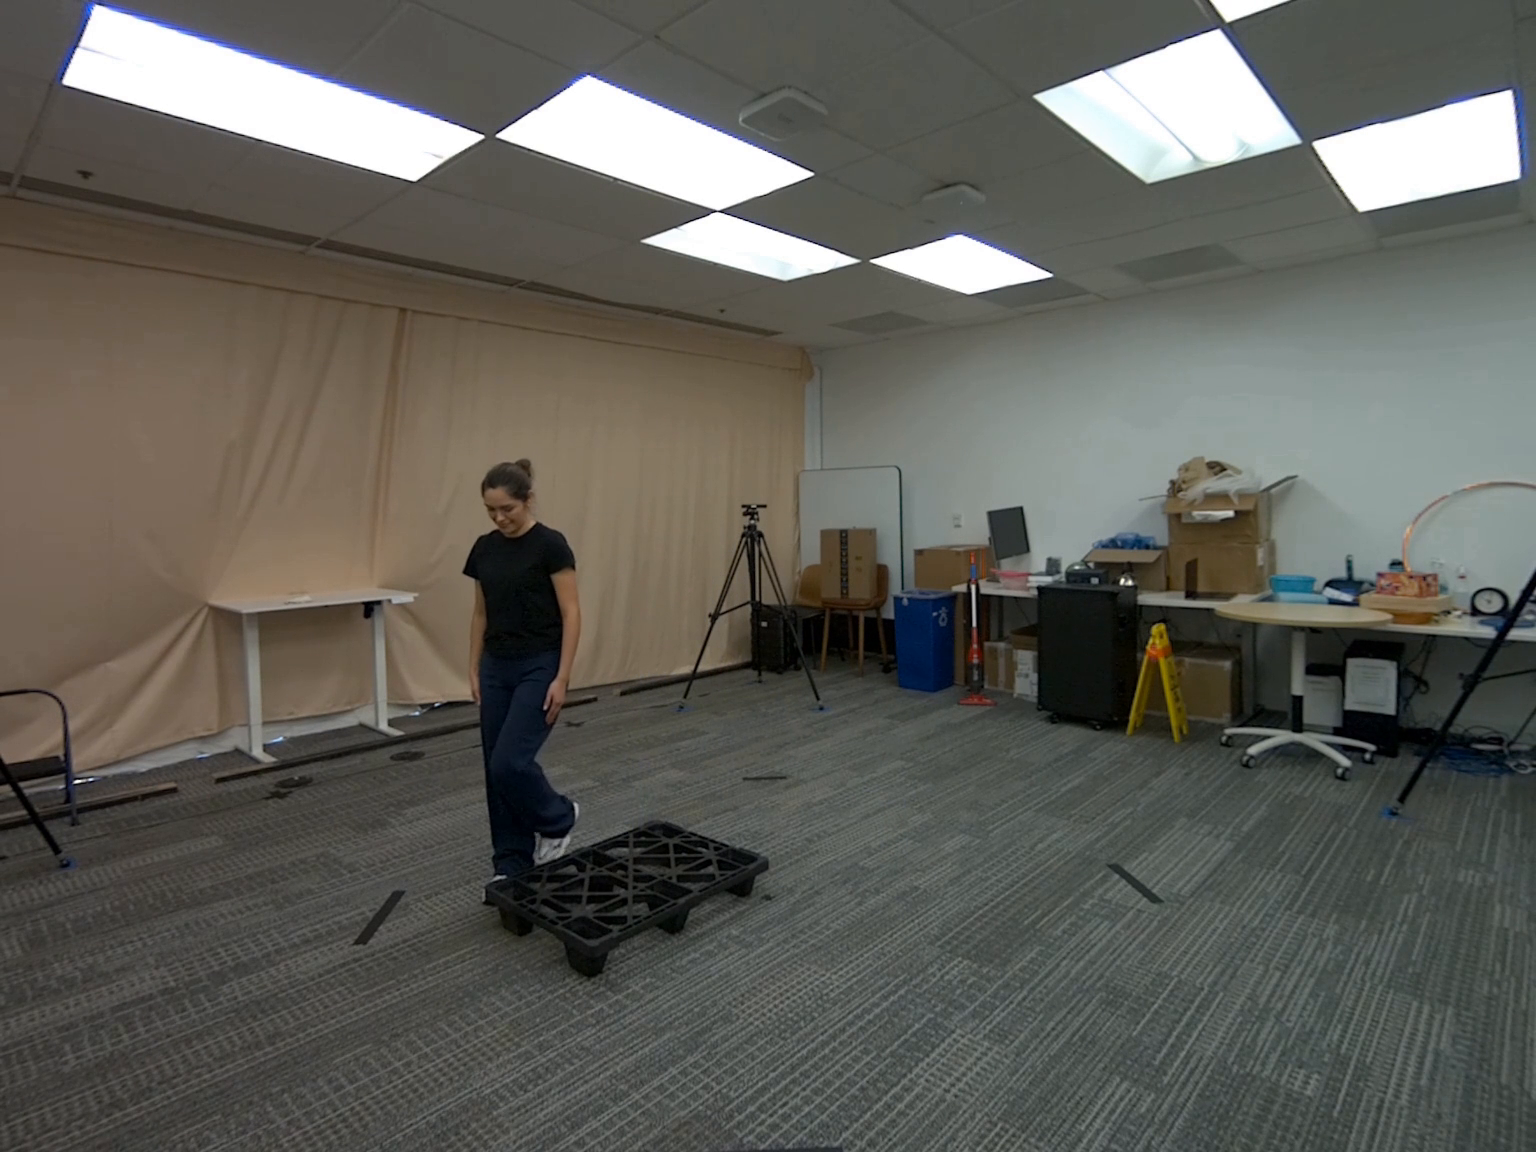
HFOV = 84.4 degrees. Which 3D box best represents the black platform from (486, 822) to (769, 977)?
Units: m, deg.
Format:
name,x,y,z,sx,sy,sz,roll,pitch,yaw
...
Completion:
name,x,y,z,sx,sy,sz,roll,pitch,yaw
black platform,-0.451,1.091,2.911,0.625,0.143,0.782,4,7,41
